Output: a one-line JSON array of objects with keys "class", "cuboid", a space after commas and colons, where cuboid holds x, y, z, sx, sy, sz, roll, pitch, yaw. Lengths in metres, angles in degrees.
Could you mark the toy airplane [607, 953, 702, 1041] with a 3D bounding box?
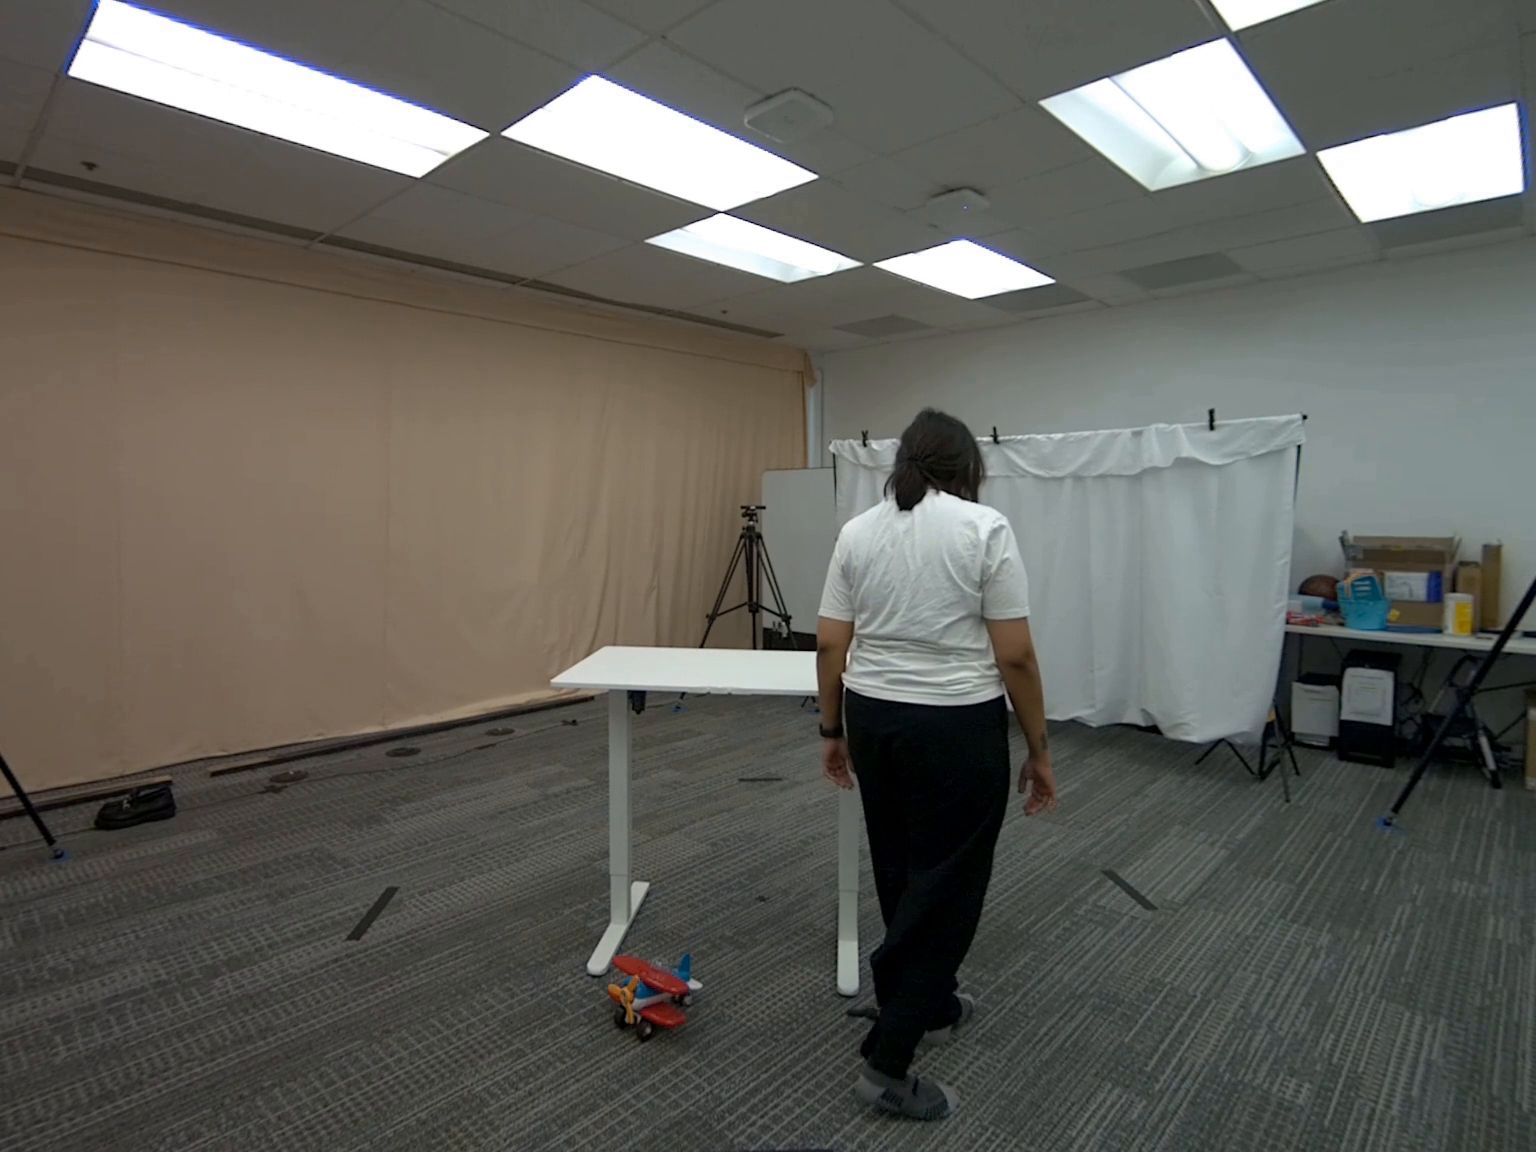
[{"class": "toy airplane", "cuboid": [-0.315, 1.132, 2.291, 0.254, 0.156, 0.257, 0, 6, 11]}]
